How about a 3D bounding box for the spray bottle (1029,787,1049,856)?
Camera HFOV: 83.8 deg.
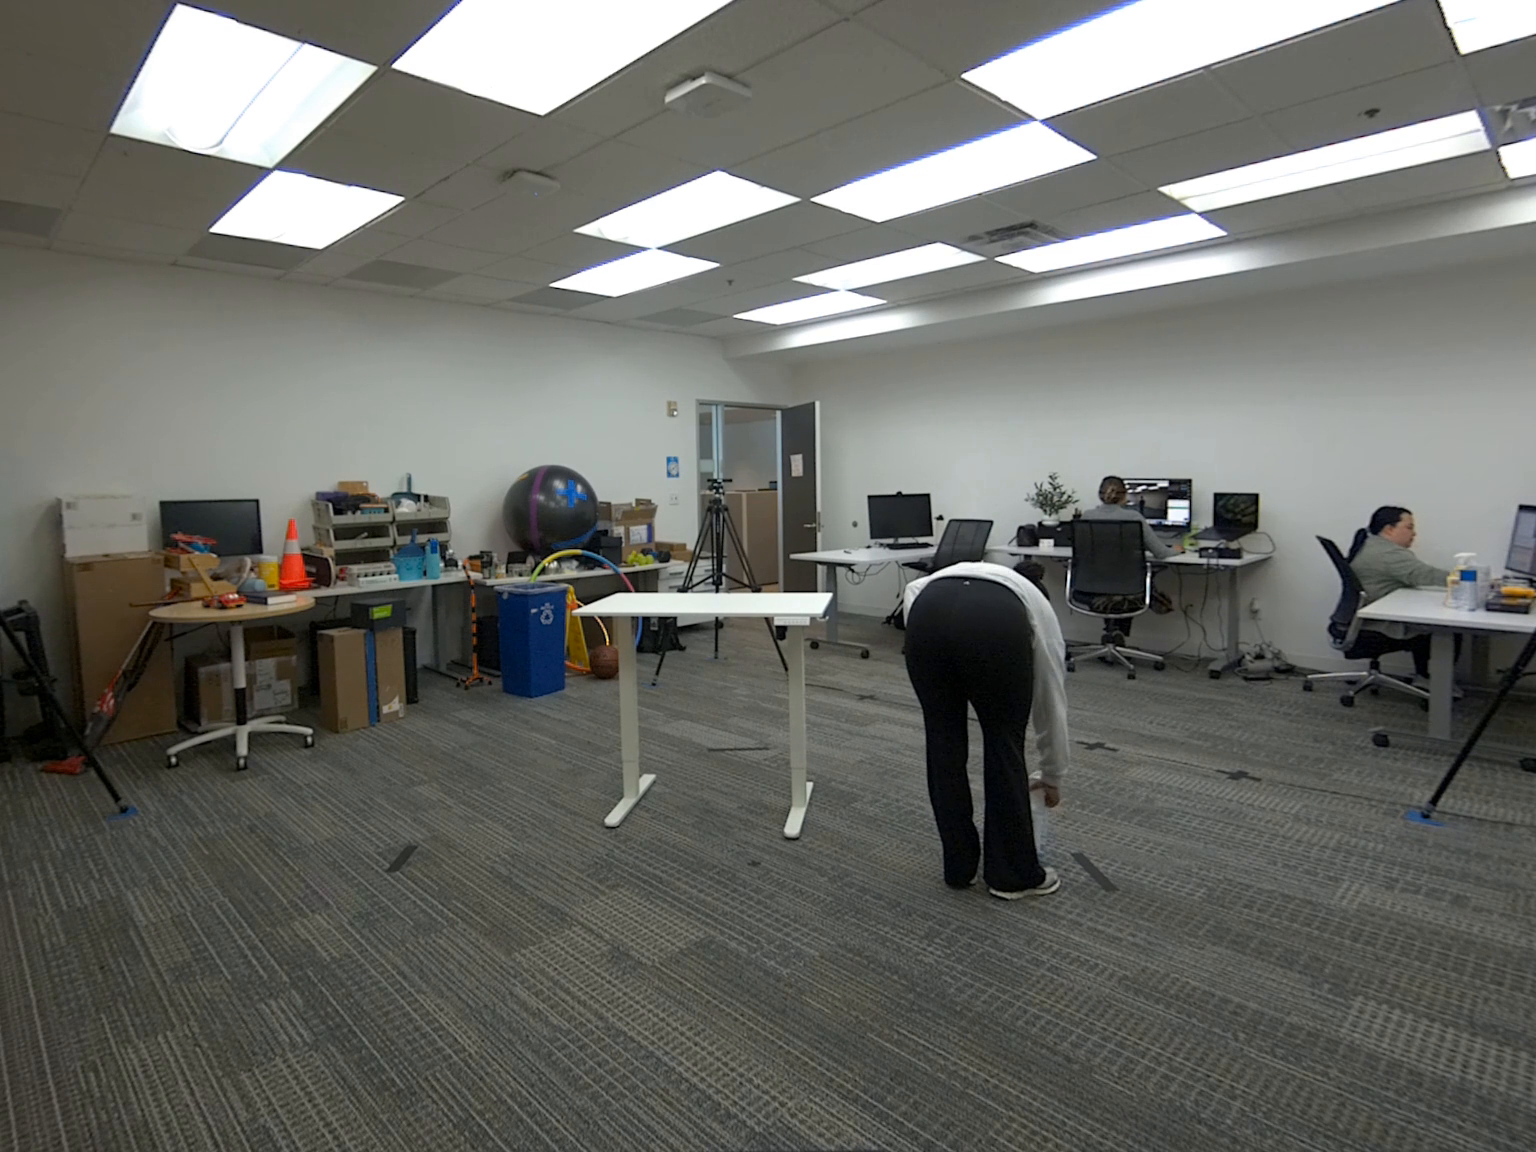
[{"bbox_3d":[0.994,0.863,3.110,0.092,0.300,0.084,3,-13,31],"label":"spray bottle"}]
